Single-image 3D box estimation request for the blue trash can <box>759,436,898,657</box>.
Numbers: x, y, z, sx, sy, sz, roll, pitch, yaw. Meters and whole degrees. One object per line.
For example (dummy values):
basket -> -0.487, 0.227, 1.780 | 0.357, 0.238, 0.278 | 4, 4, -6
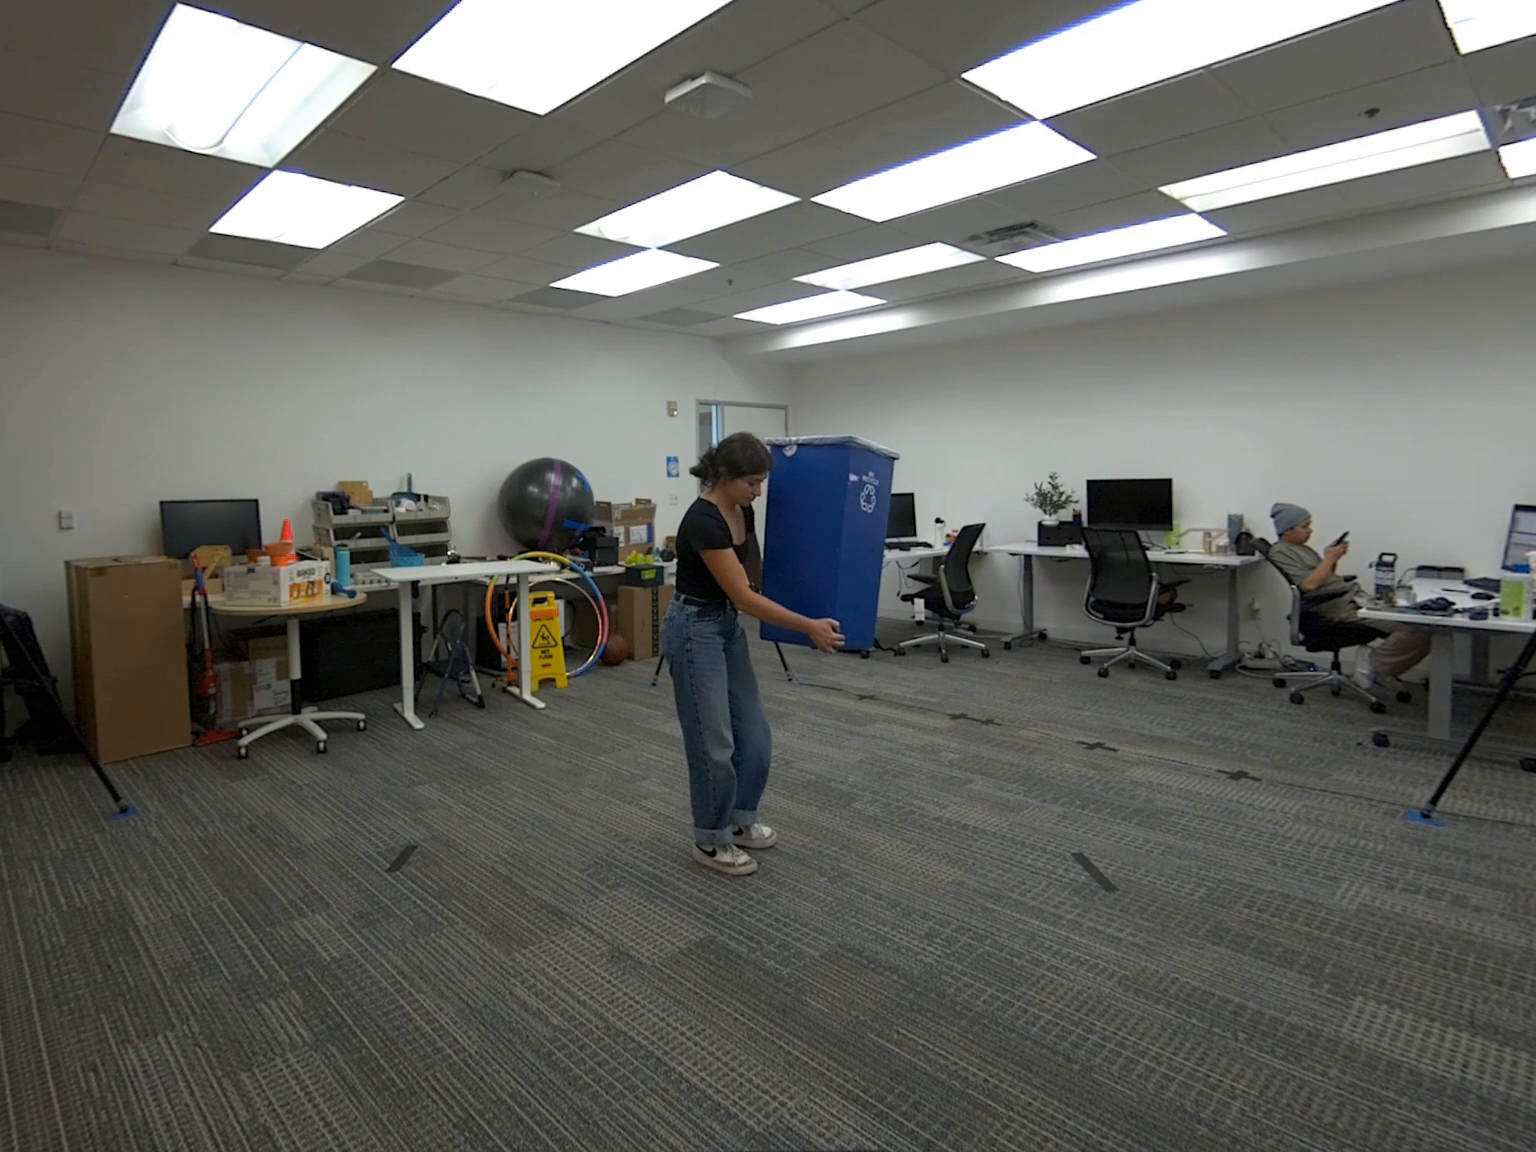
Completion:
blue trash can -> 0.213, -0.117, 3.064 | 0.389, 0.715, 0.362 | 3, -3, 36
